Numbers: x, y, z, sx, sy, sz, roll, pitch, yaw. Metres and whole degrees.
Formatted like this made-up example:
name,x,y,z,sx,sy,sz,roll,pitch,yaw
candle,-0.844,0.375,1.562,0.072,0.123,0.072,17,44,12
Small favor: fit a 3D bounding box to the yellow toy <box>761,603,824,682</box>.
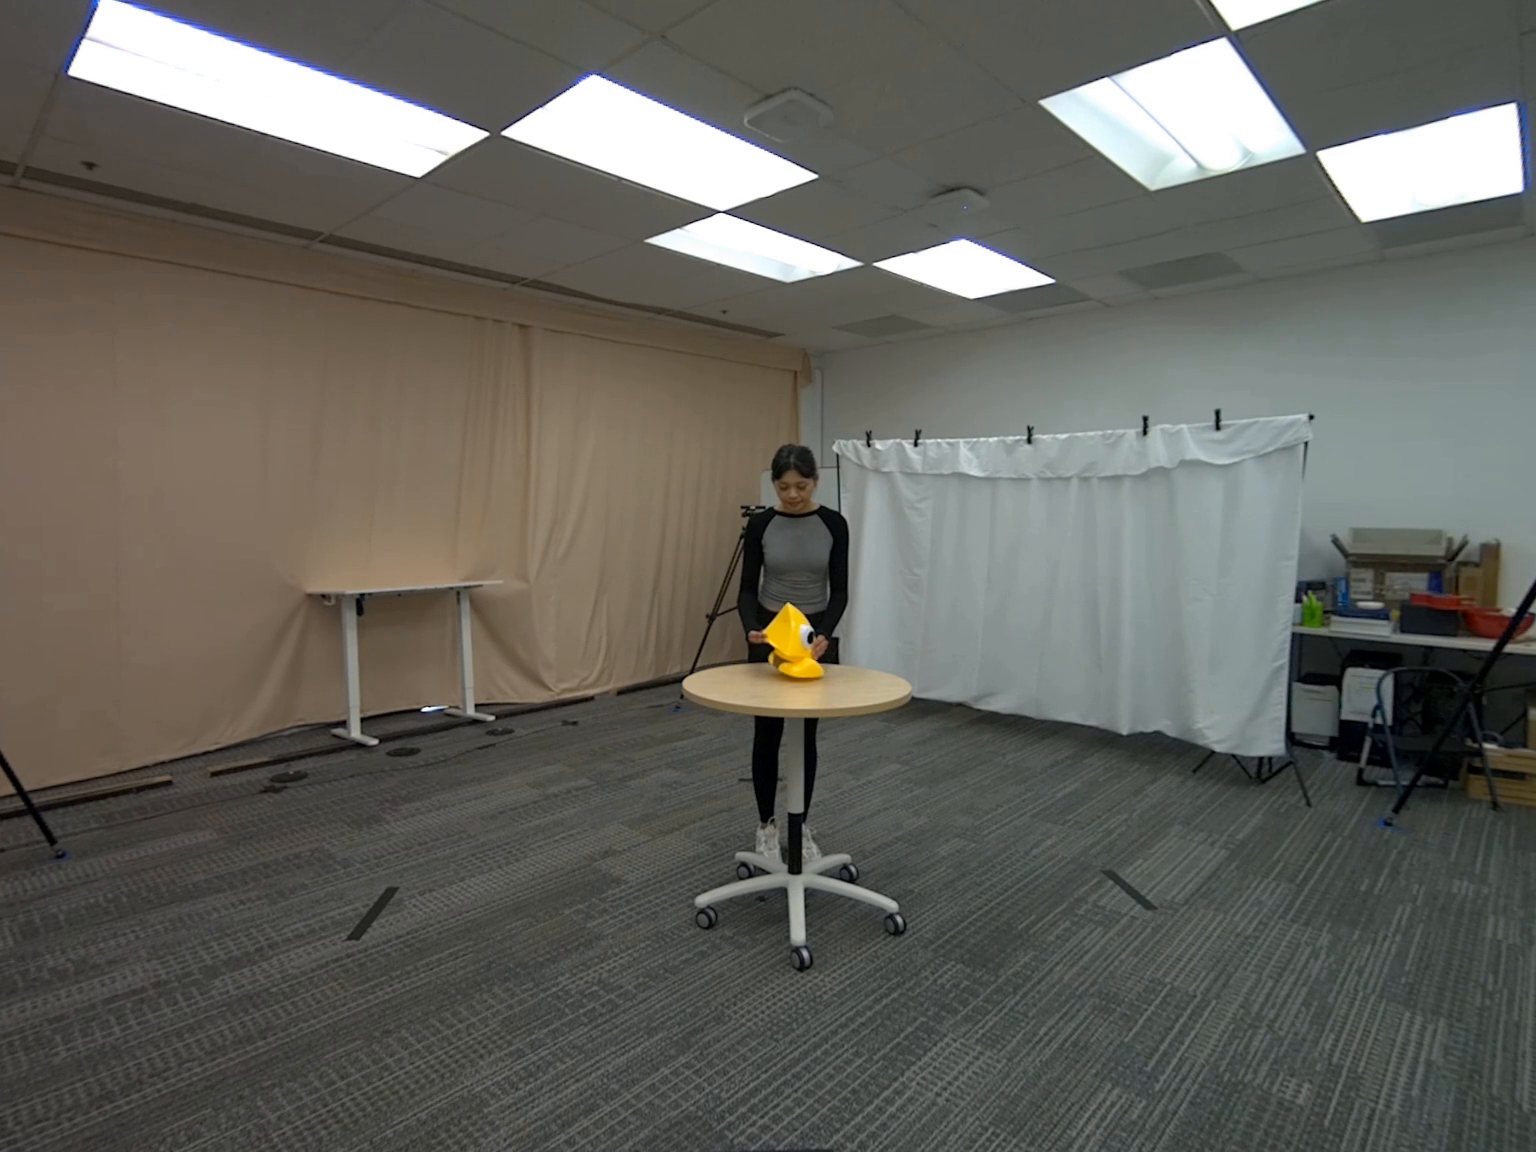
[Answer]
name,x,y,z,sx,sy,sz,roll,pitch,yaw
yellow toy,0.104,0.203,2.911,0.188,0.229,0.211,3,13,-27
